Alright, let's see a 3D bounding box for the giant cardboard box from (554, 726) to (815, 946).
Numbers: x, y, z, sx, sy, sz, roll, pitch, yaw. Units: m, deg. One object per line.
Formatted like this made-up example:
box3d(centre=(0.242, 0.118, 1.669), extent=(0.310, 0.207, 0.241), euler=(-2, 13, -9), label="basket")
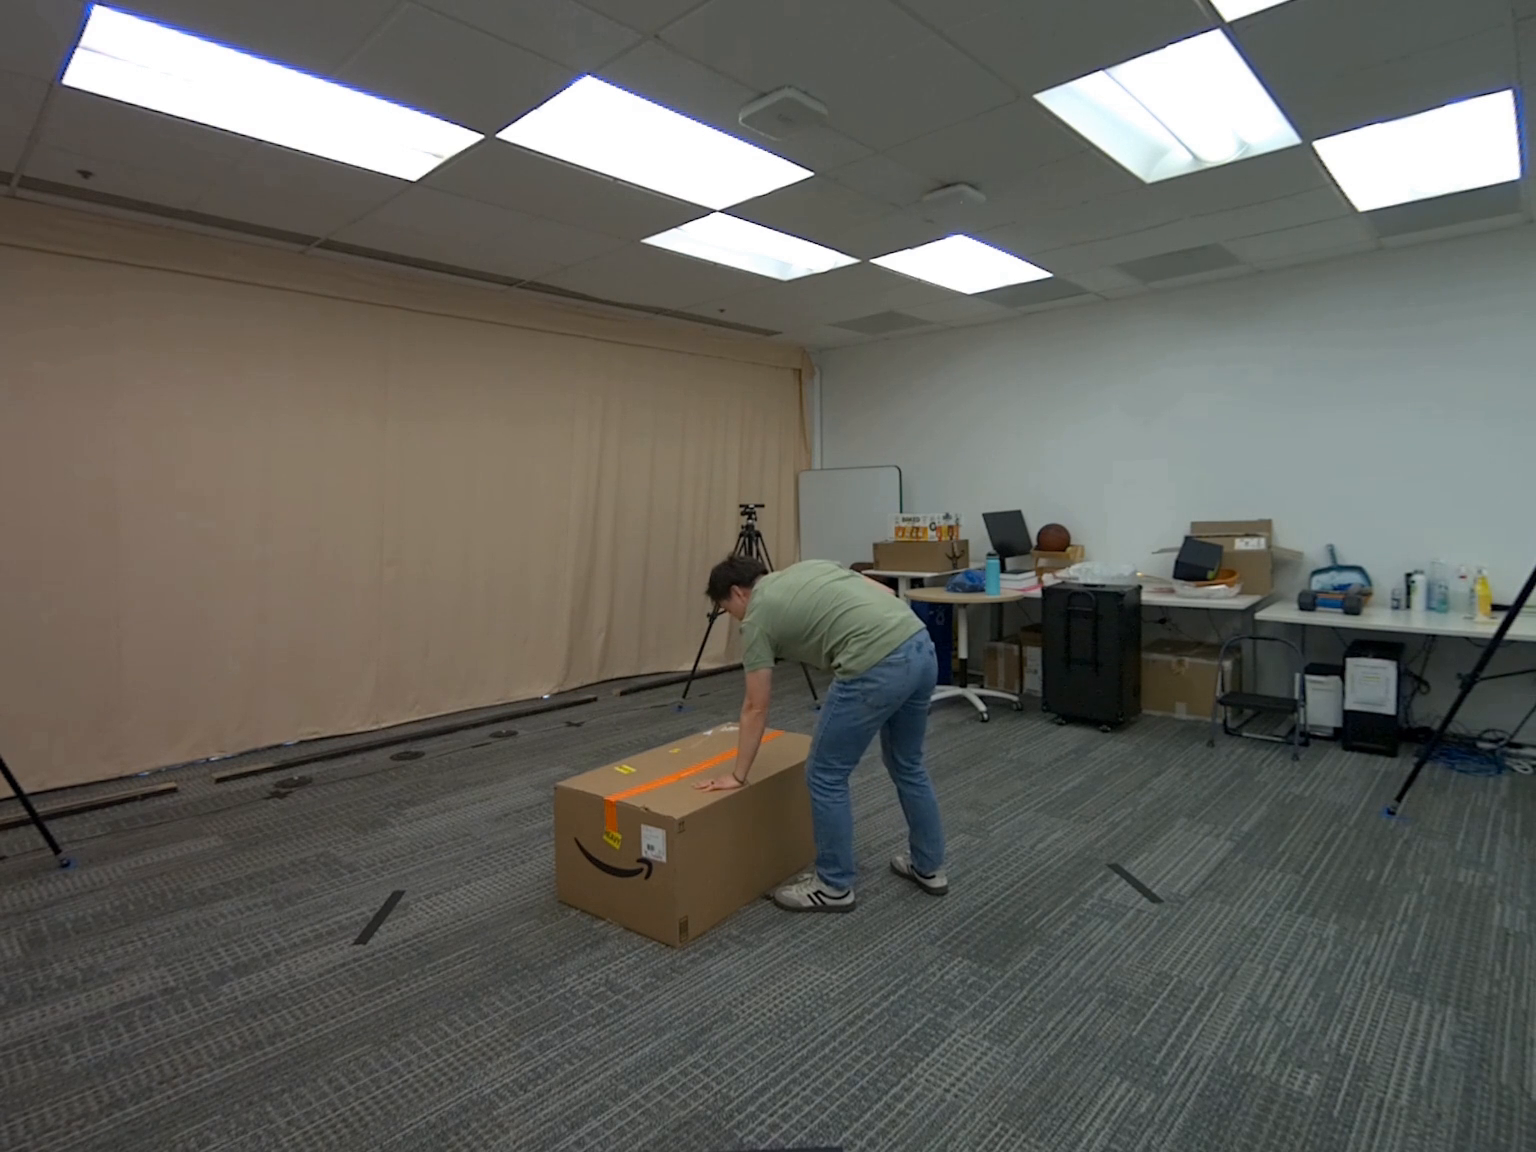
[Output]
box3d(centre=(-0.225, 0.914, 3.203), extent=(0.596, 0.425, 0.996), euler=(2, 6, 37), label="giant cardboard box")
